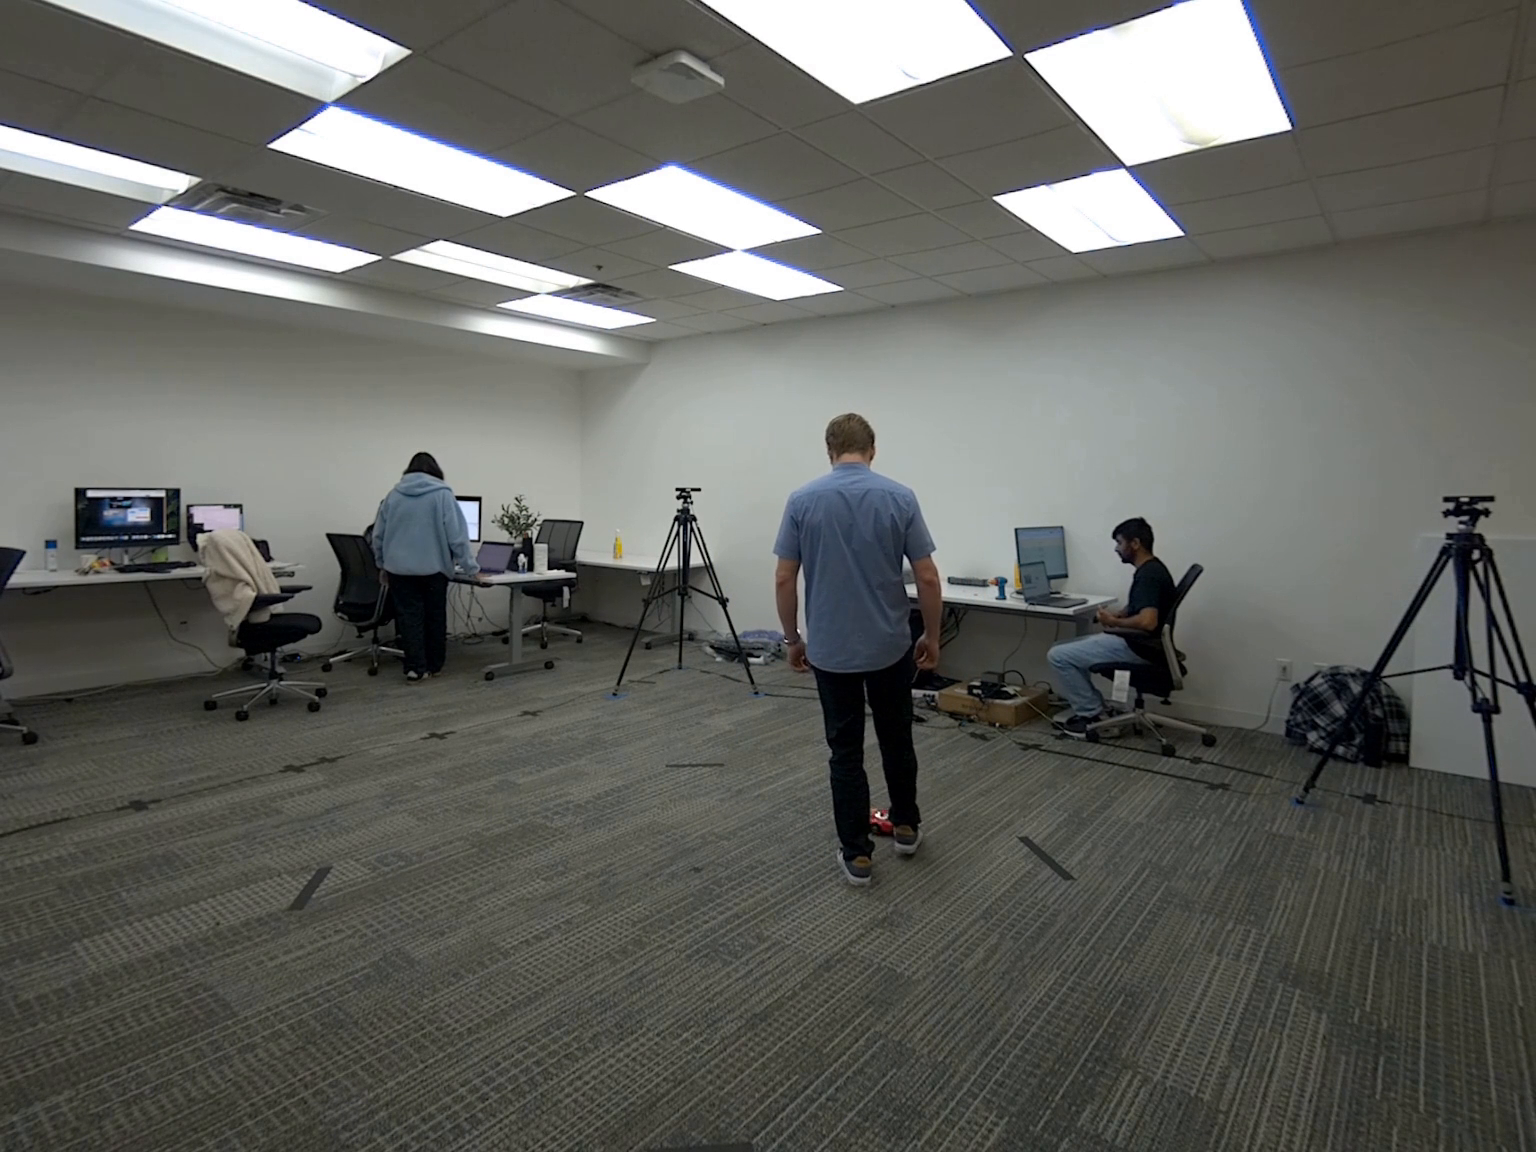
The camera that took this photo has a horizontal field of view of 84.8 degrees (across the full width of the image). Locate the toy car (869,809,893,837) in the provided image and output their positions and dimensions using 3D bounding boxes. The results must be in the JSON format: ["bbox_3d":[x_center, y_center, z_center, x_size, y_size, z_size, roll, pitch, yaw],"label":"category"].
[{"bbox_3d":[0.413,1.003,3.518,0.261,0.083,0.126,-8,-3,35],"label":"toy car"}]
